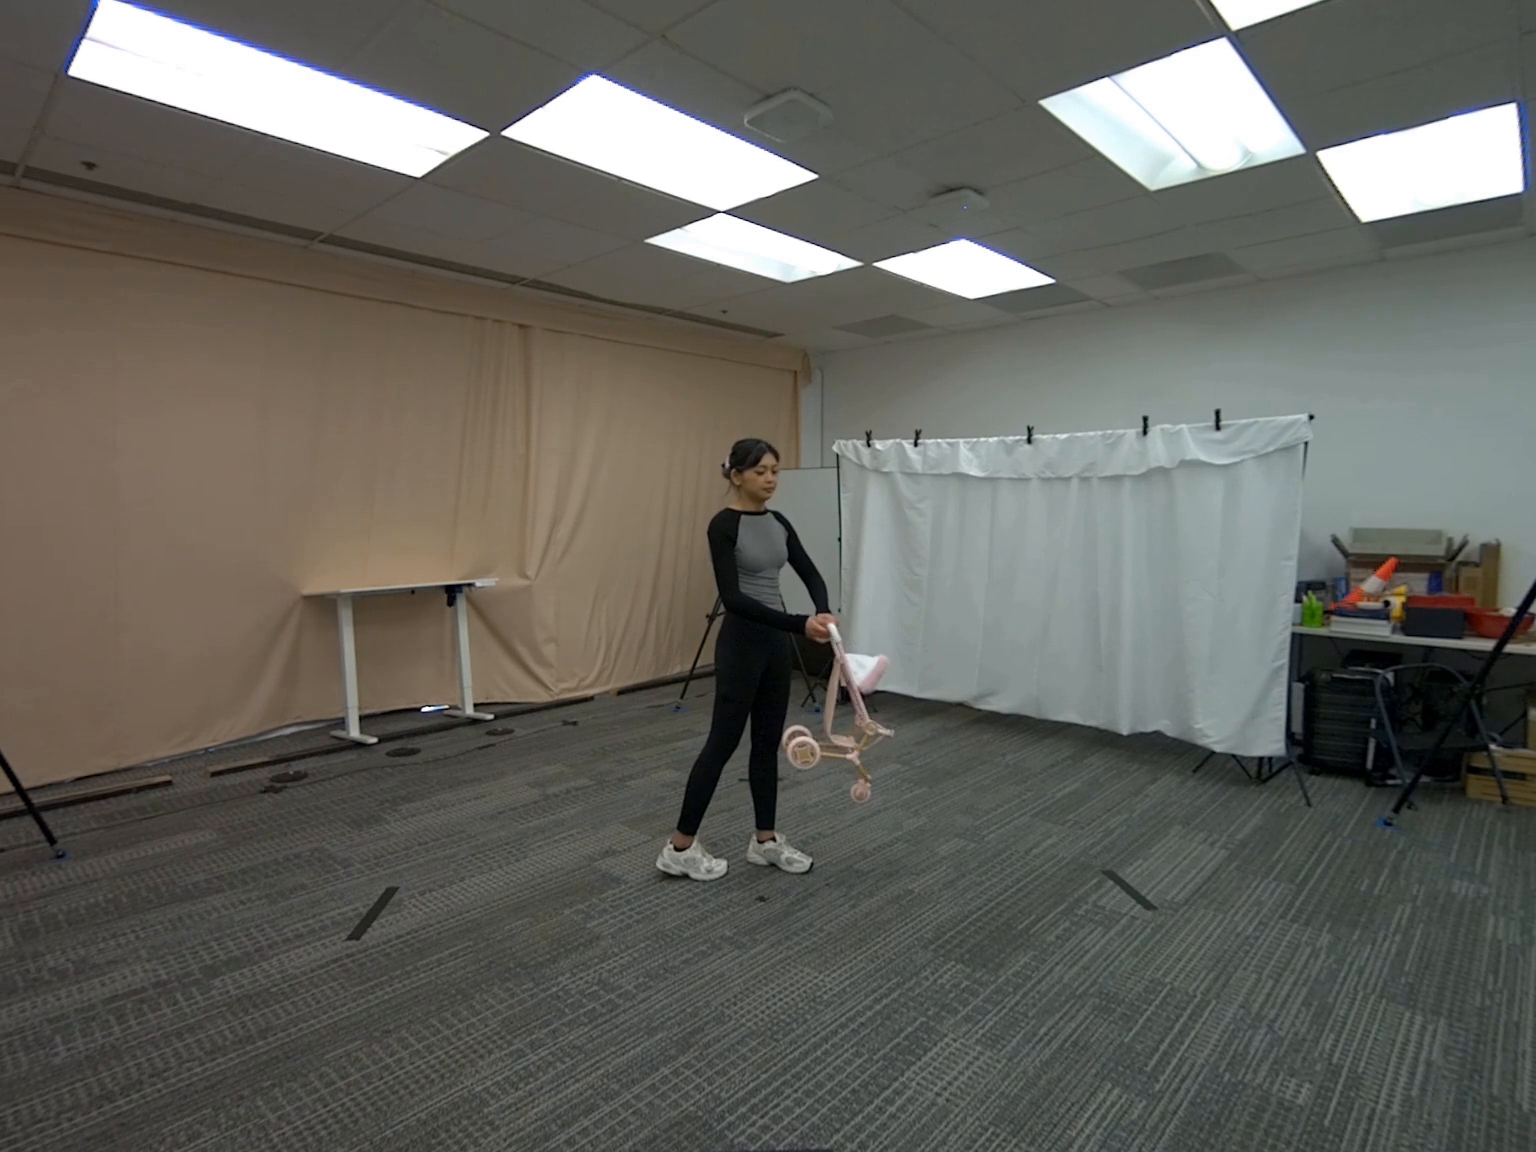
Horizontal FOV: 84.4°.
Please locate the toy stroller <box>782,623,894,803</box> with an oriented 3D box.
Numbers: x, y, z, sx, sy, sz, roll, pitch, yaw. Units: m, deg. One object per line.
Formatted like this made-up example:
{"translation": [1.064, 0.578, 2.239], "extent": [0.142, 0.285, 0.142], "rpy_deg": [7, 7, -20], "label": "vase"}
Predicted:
{"translation": [0.282, 0.469, 2.860], "extent": [0.344, 0.535, 0.279], "rpy_deg": [20, -4, 5], "label": "toy stroller"}
